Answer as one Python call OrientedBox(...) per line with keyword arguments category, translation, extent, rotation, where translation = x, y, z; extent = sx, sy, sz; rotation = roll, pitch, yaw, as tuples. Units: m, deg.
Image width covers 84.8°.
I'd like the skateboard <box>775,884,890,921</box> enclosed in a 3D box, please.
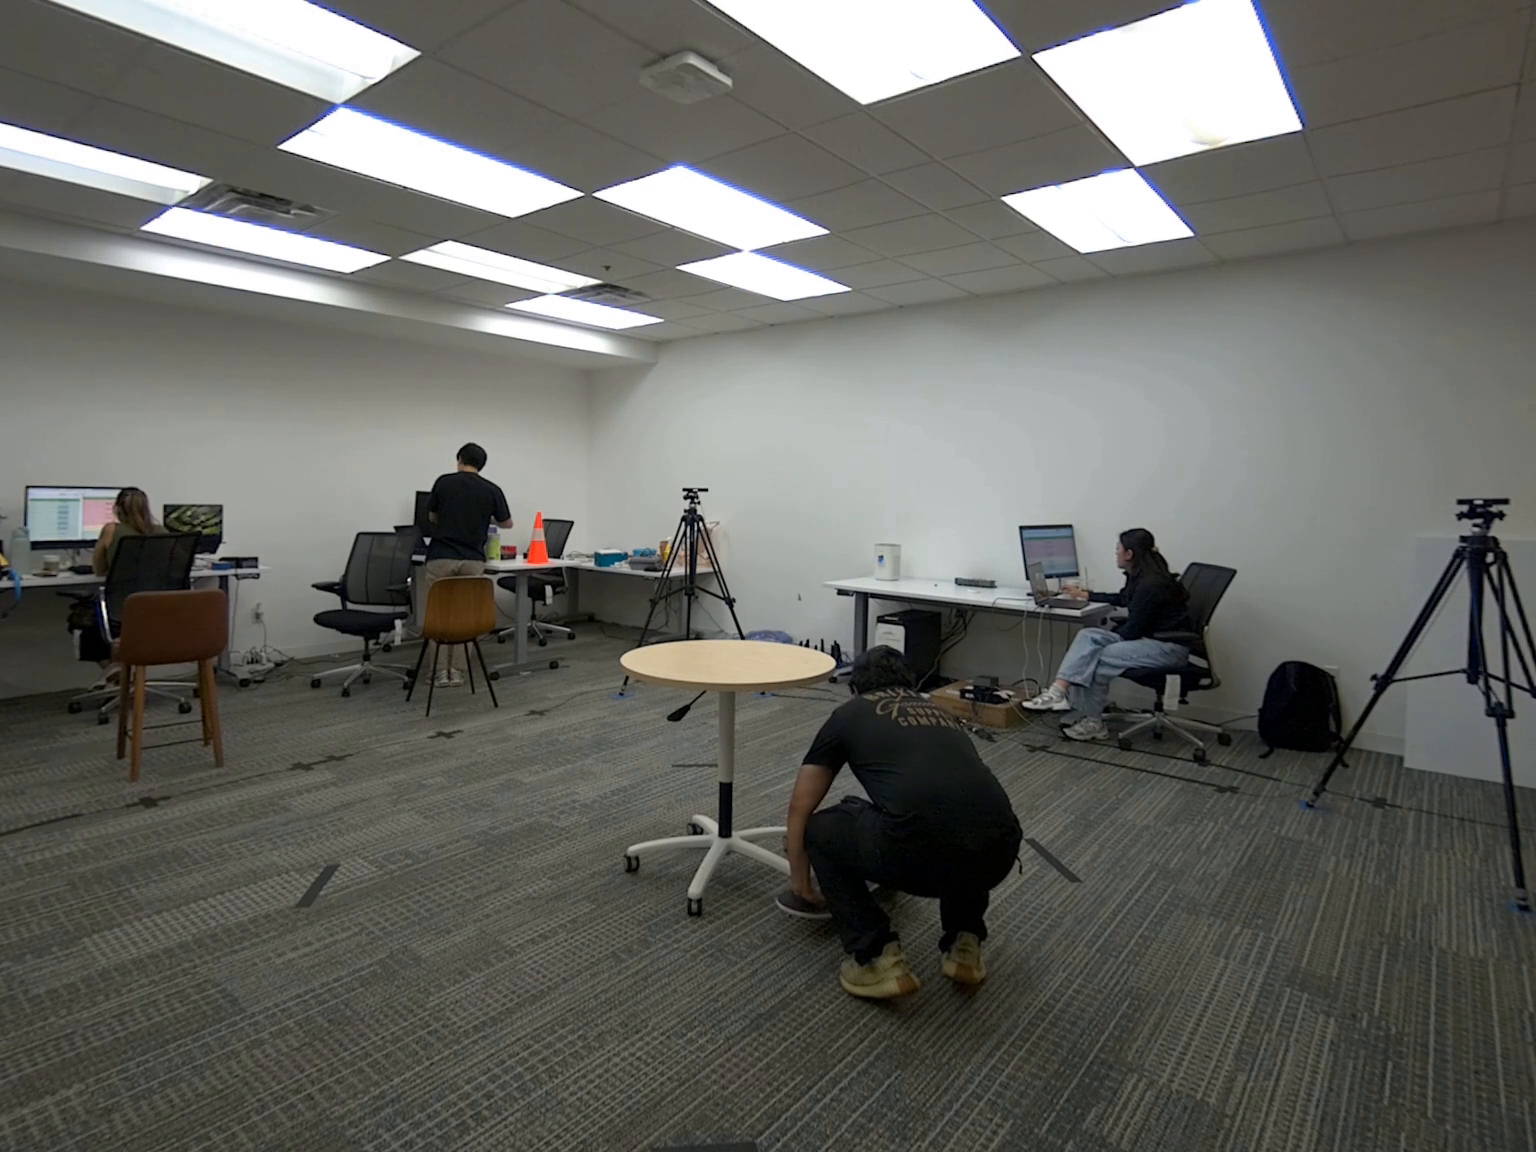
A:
OrientedBox(category="skateboard", translation=(0.274, 1.032, 2.910), extent=(0.200, 0.110, 0.762), rotation=(6, 7, 38))
